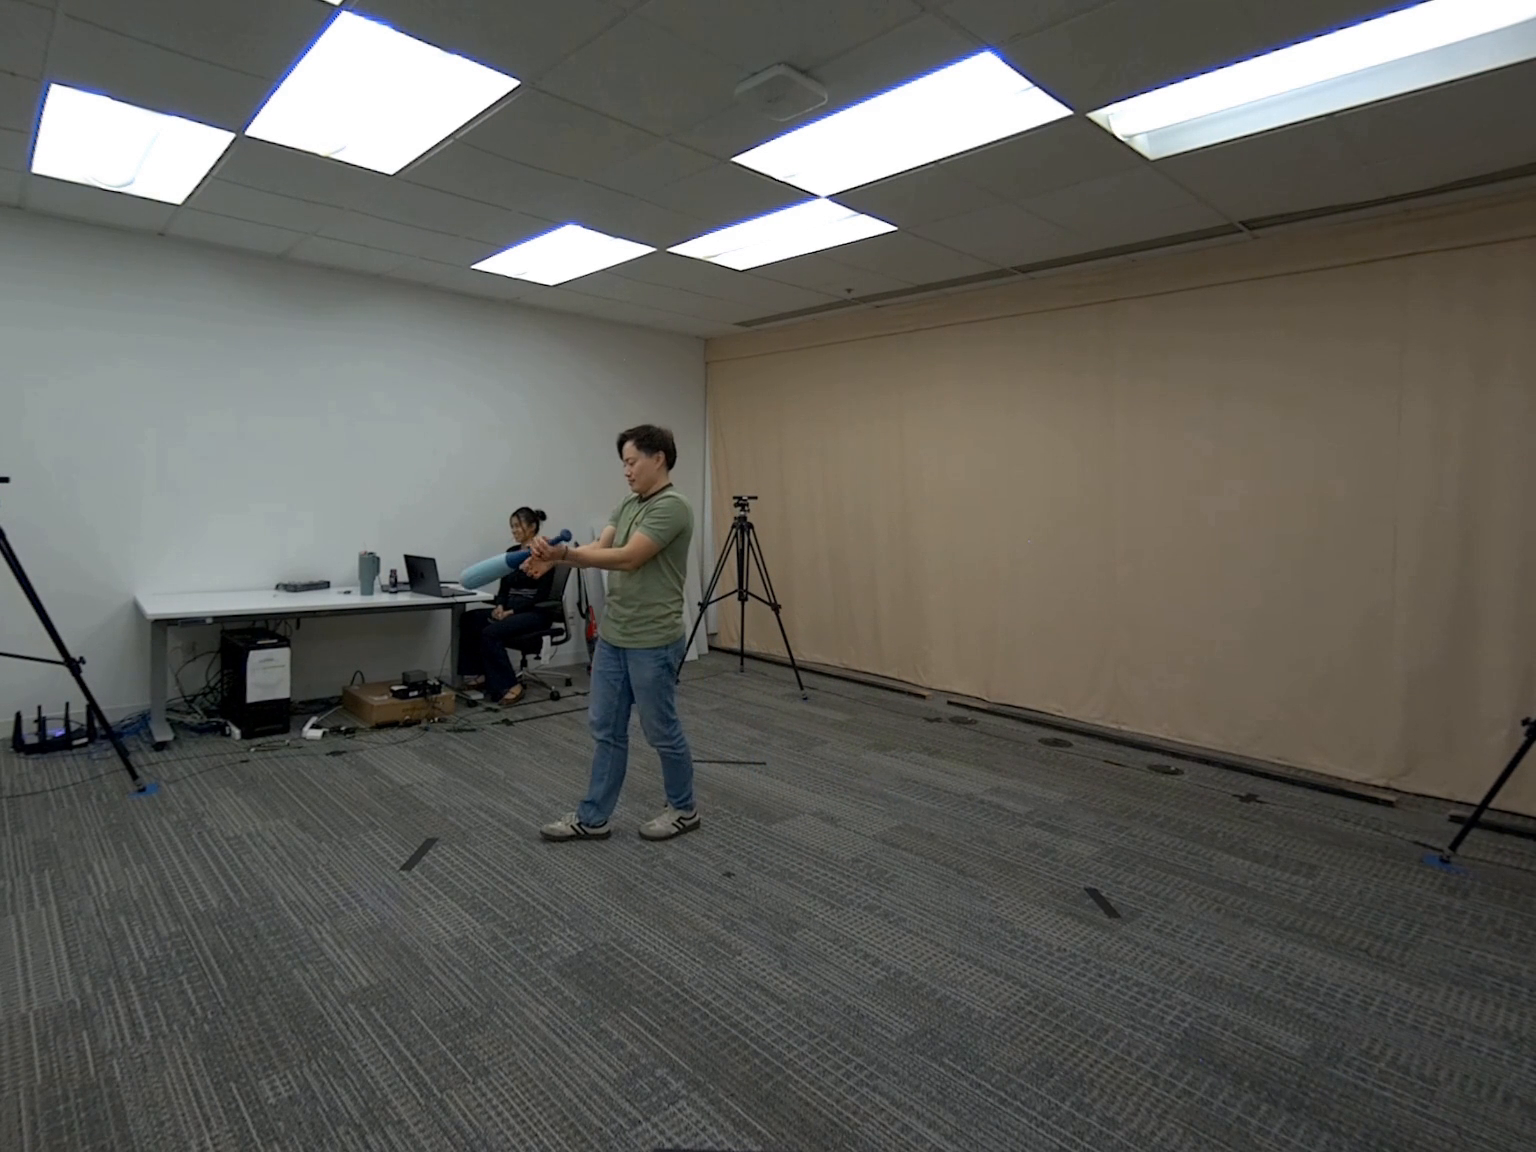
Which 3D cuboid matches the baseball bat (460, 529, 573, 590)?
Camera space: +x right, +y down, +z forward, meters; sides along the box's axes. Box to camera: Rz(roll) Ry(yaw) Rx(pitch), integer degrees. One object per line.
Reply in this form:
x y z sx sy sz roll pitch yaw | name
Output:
-0.948 -0.059 3.185 0.549 0.089 0.087 -20 -5 26 | baseball bat
